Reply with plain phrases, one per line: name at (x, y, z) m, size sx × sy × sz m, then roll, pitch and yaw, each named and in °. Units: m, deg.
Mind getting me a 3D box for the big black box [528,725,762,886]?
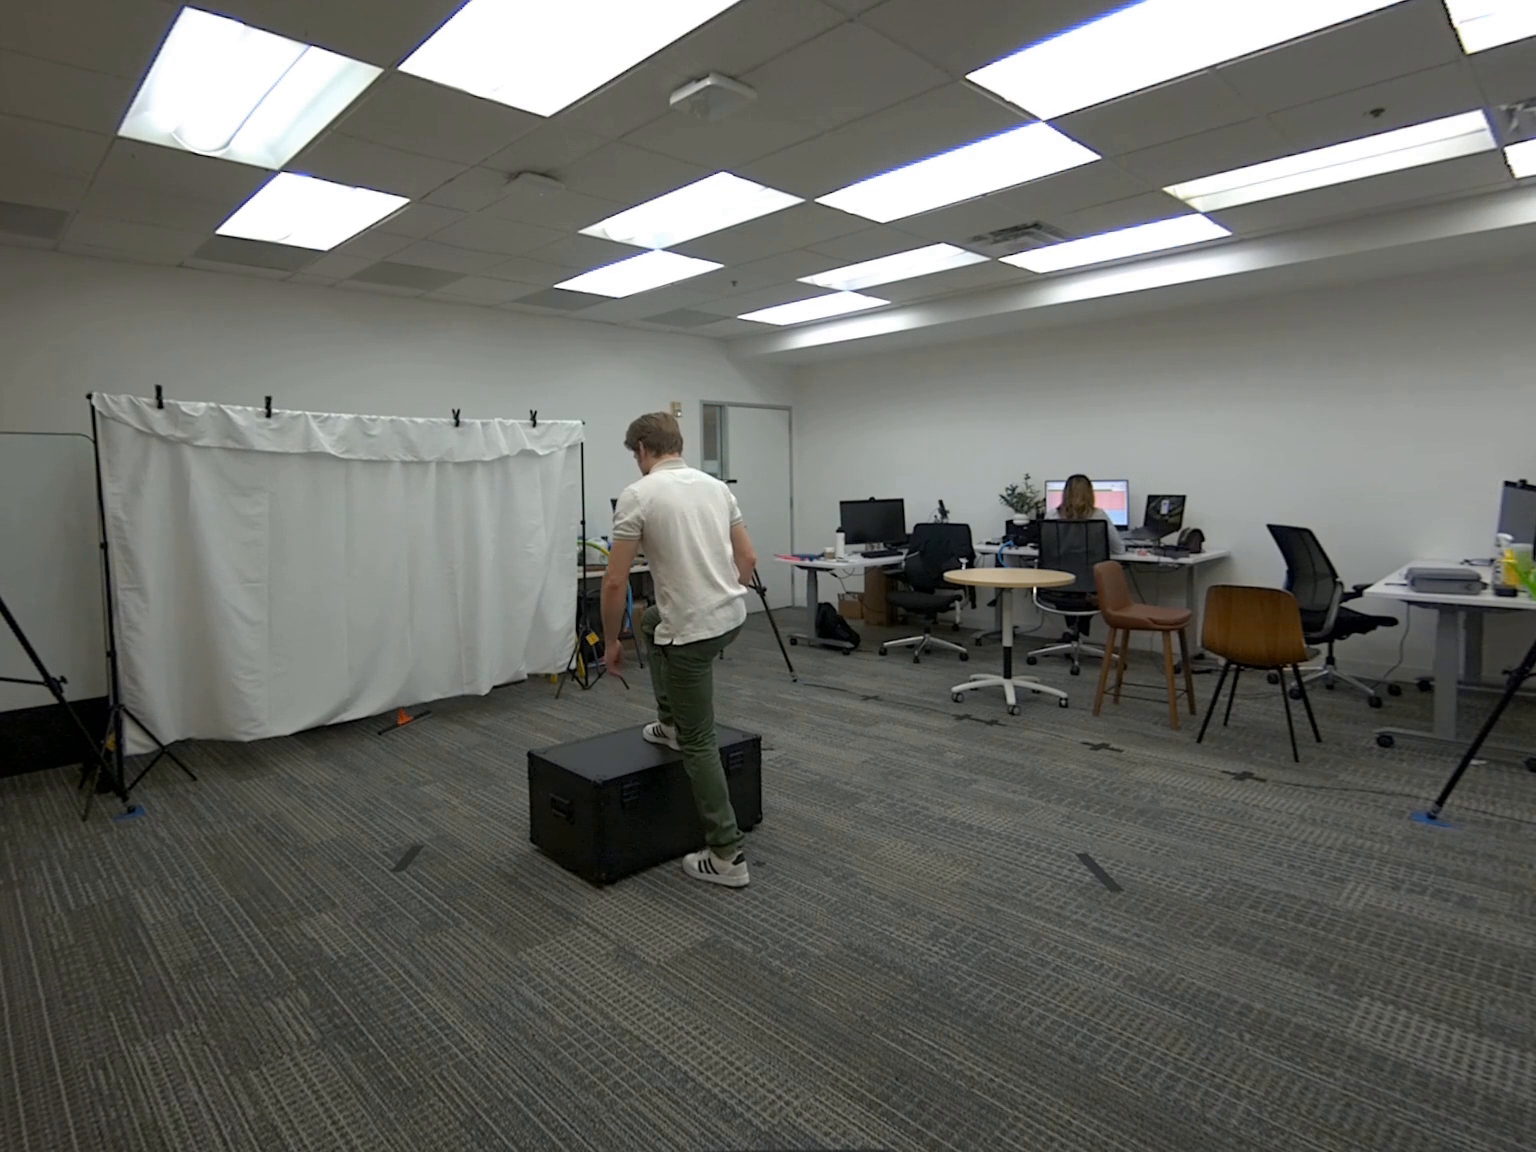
big black box at (-0.443, 0.837, 3.362) m, size 0.839 × 0.394 × 0.537 m, roll -7°, pitch 8°, yaw -43°
